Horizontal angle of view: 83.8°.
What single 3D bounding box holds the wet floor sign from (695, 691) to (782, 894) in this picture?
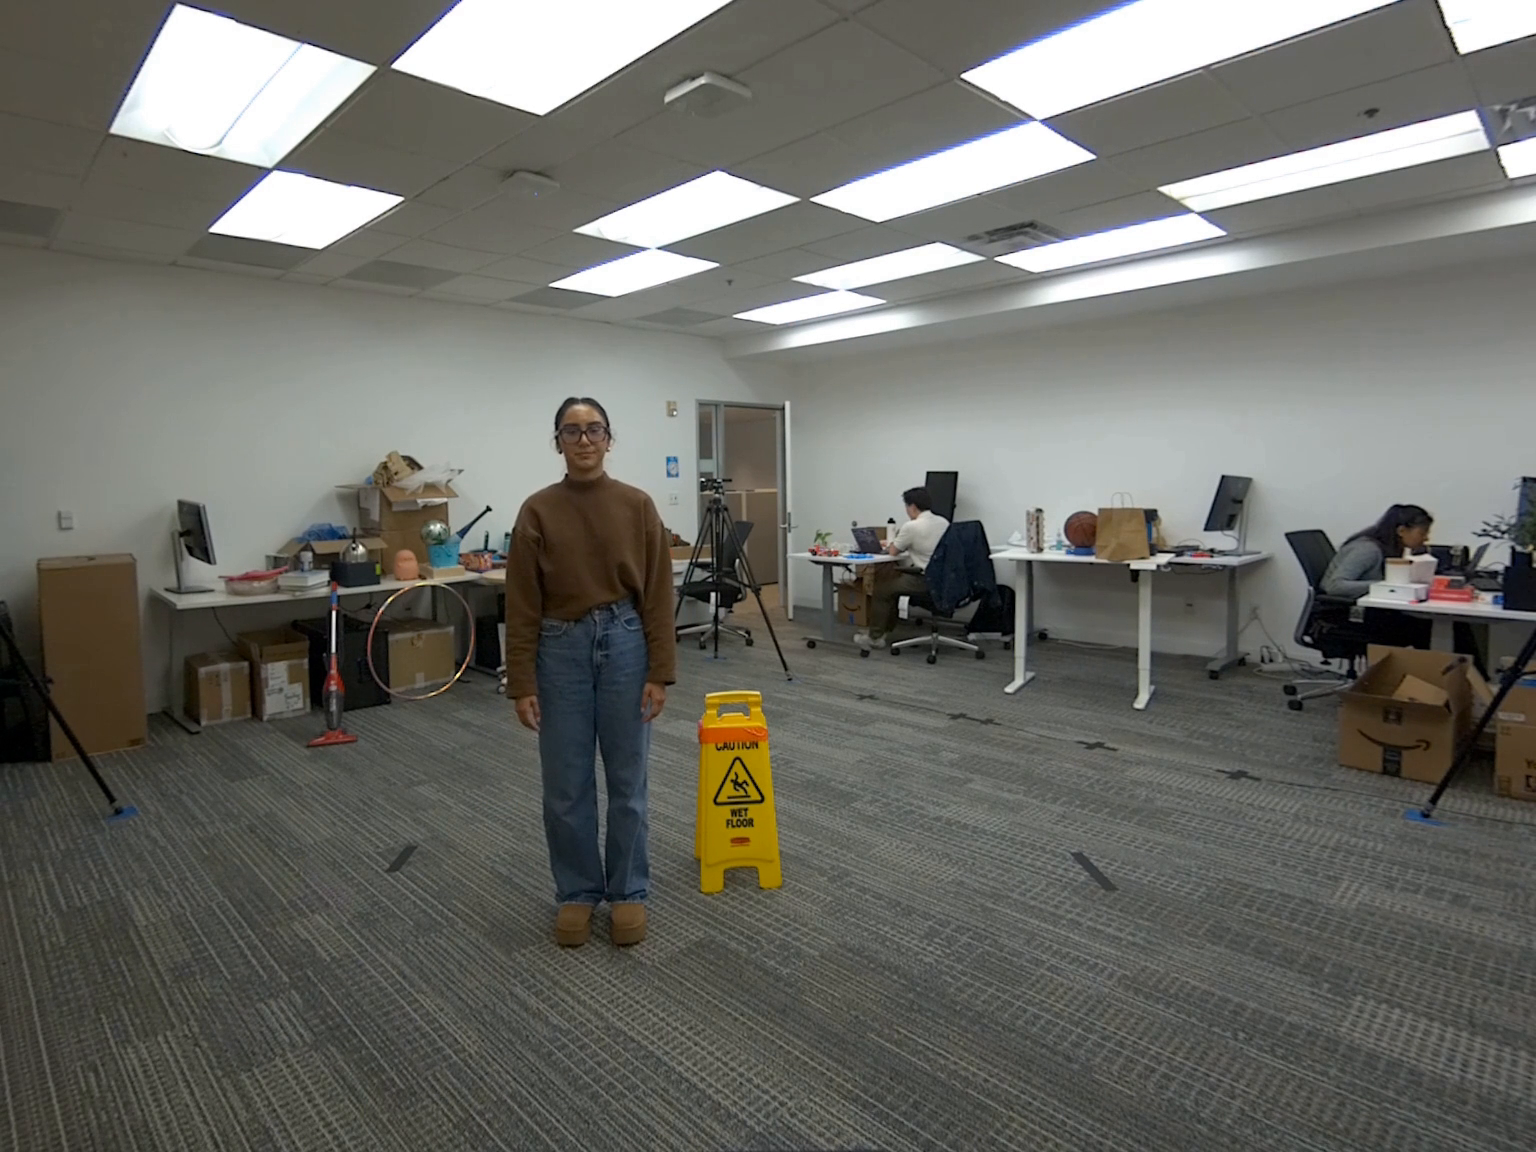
[{"bbox_3d":[-0.112,0.730,3.017,0.280,0.643,0.293,-2,4,-8],"label":"wet floor sign"}]
